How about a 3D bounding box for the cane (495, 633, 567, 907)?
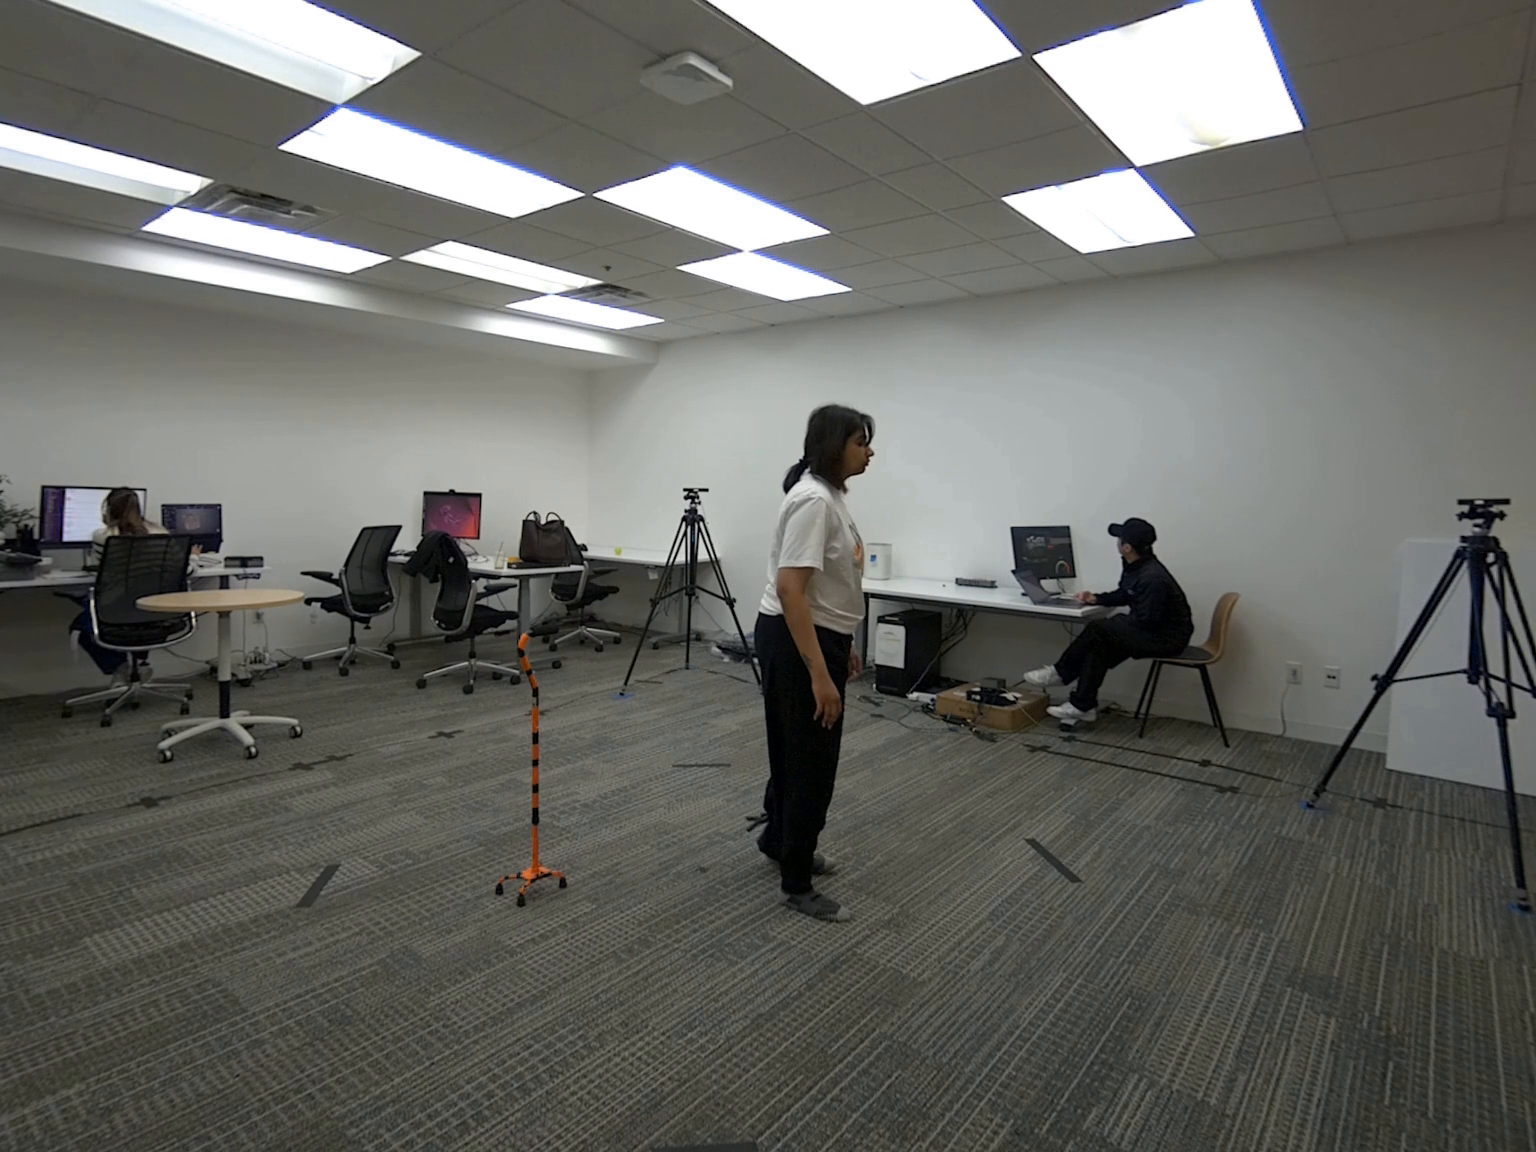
[{"bbox_3d":[-0.825,0.628,2.900,0.156,0.904,0.200,3,5,39],"label":"cane"}]
